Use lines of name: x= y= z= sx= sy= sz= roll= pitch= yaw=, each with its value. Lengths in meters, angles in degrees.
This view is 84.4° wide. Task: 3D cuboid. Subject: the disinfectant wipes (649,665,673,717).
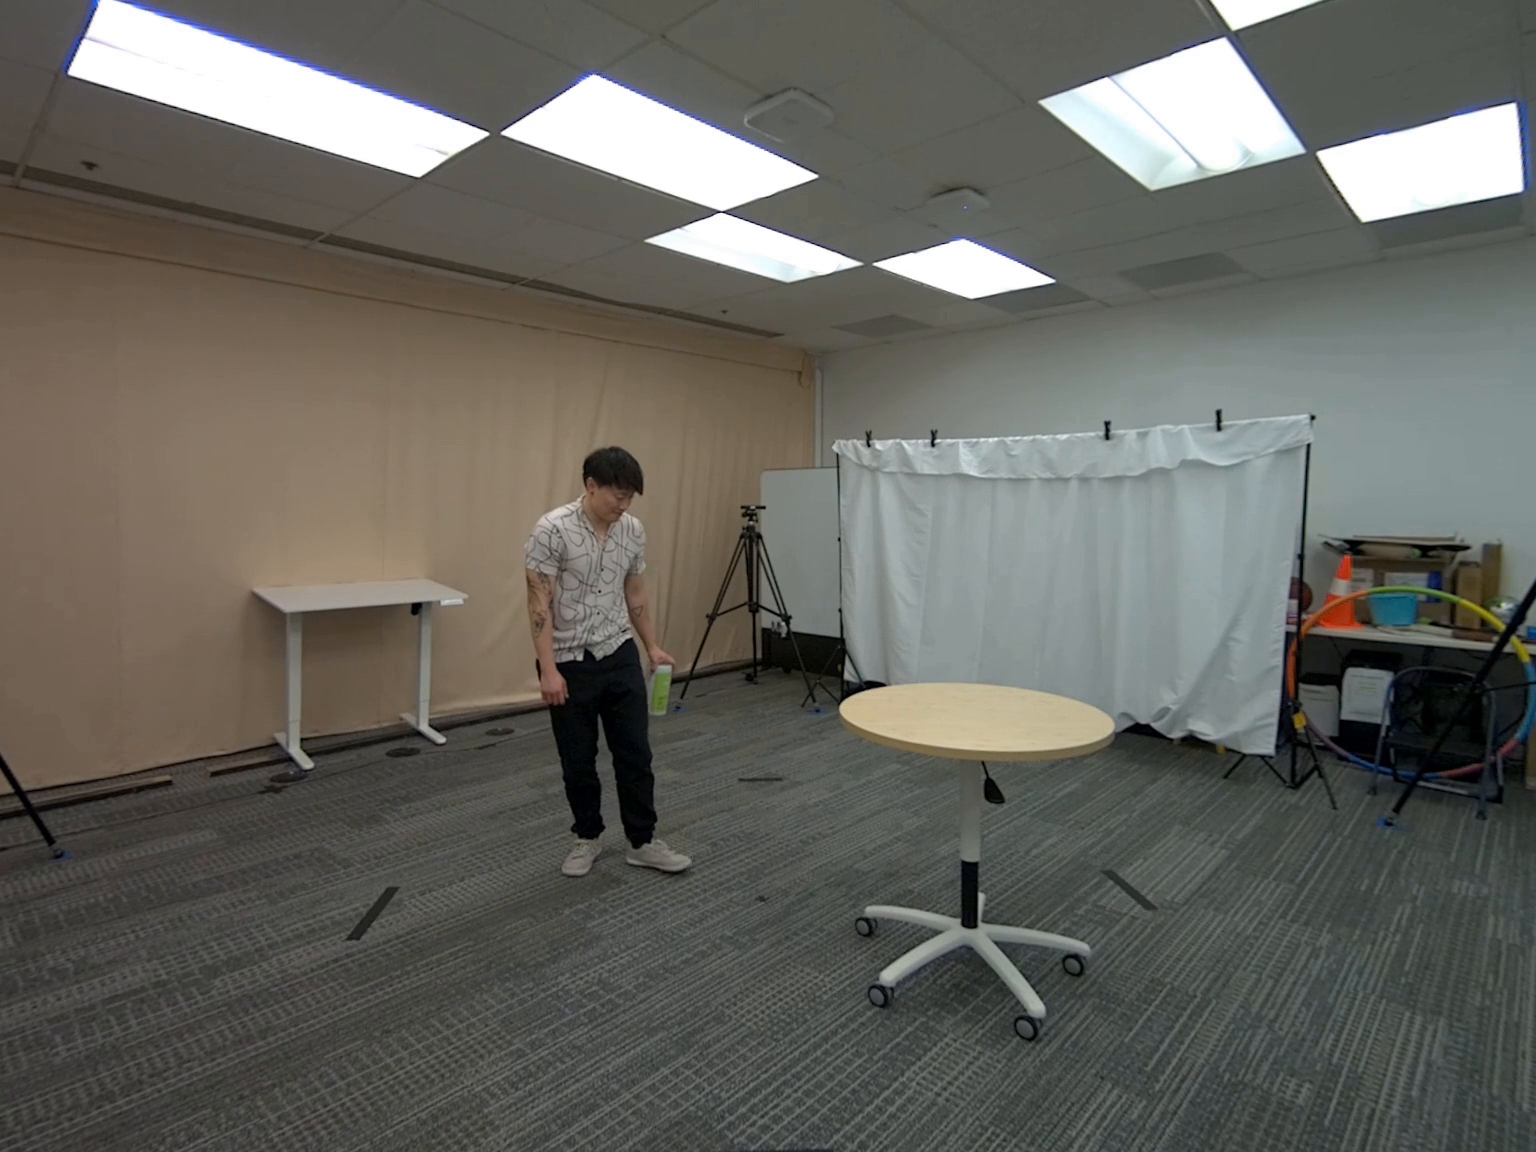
disinfectant wipes: x=-0.466 y=0.465 z=3.506 sx=0.117 sy=0.216 sz=0.118 roll=5 pitch=10 yaw=-3
